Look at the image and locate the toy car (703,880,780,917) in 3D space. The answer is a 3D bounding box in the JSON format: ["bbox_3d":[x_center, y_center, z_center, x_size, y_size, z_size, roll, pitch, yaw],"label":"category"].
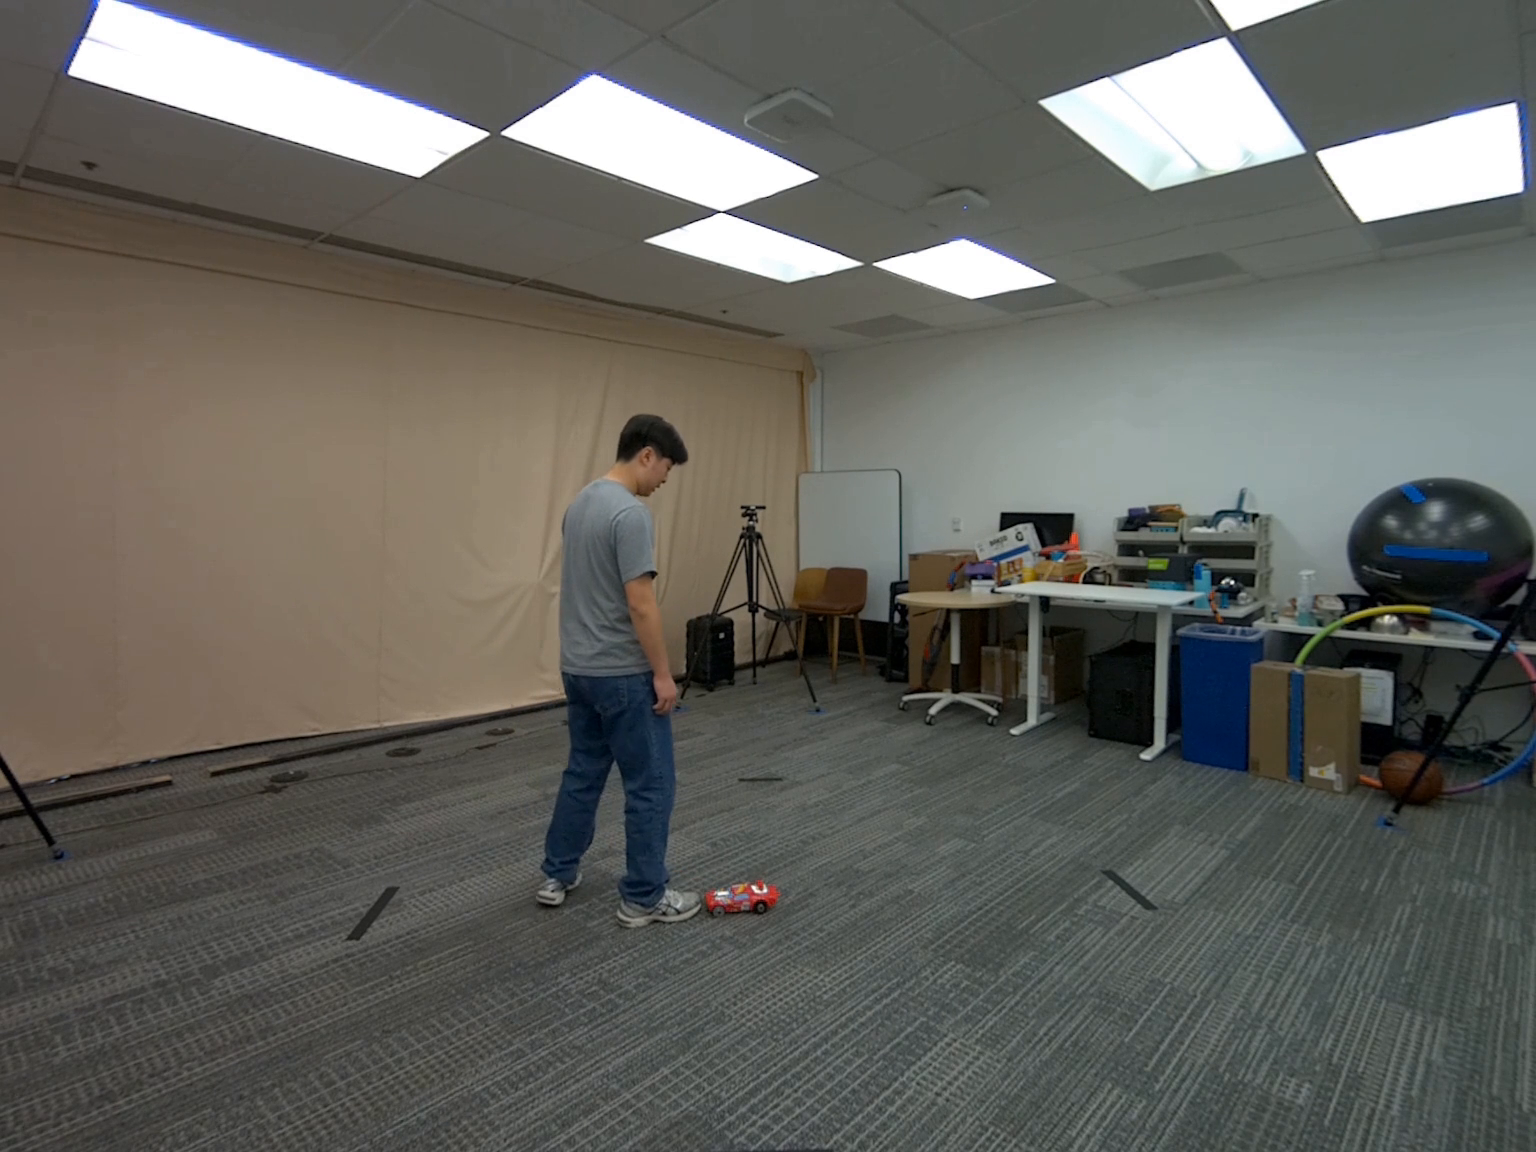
[{"bbox_3d":[-0.084,1.119,2.907,0.253,0.083,0.132,-12,5,-7],"label":"toy car"}]
